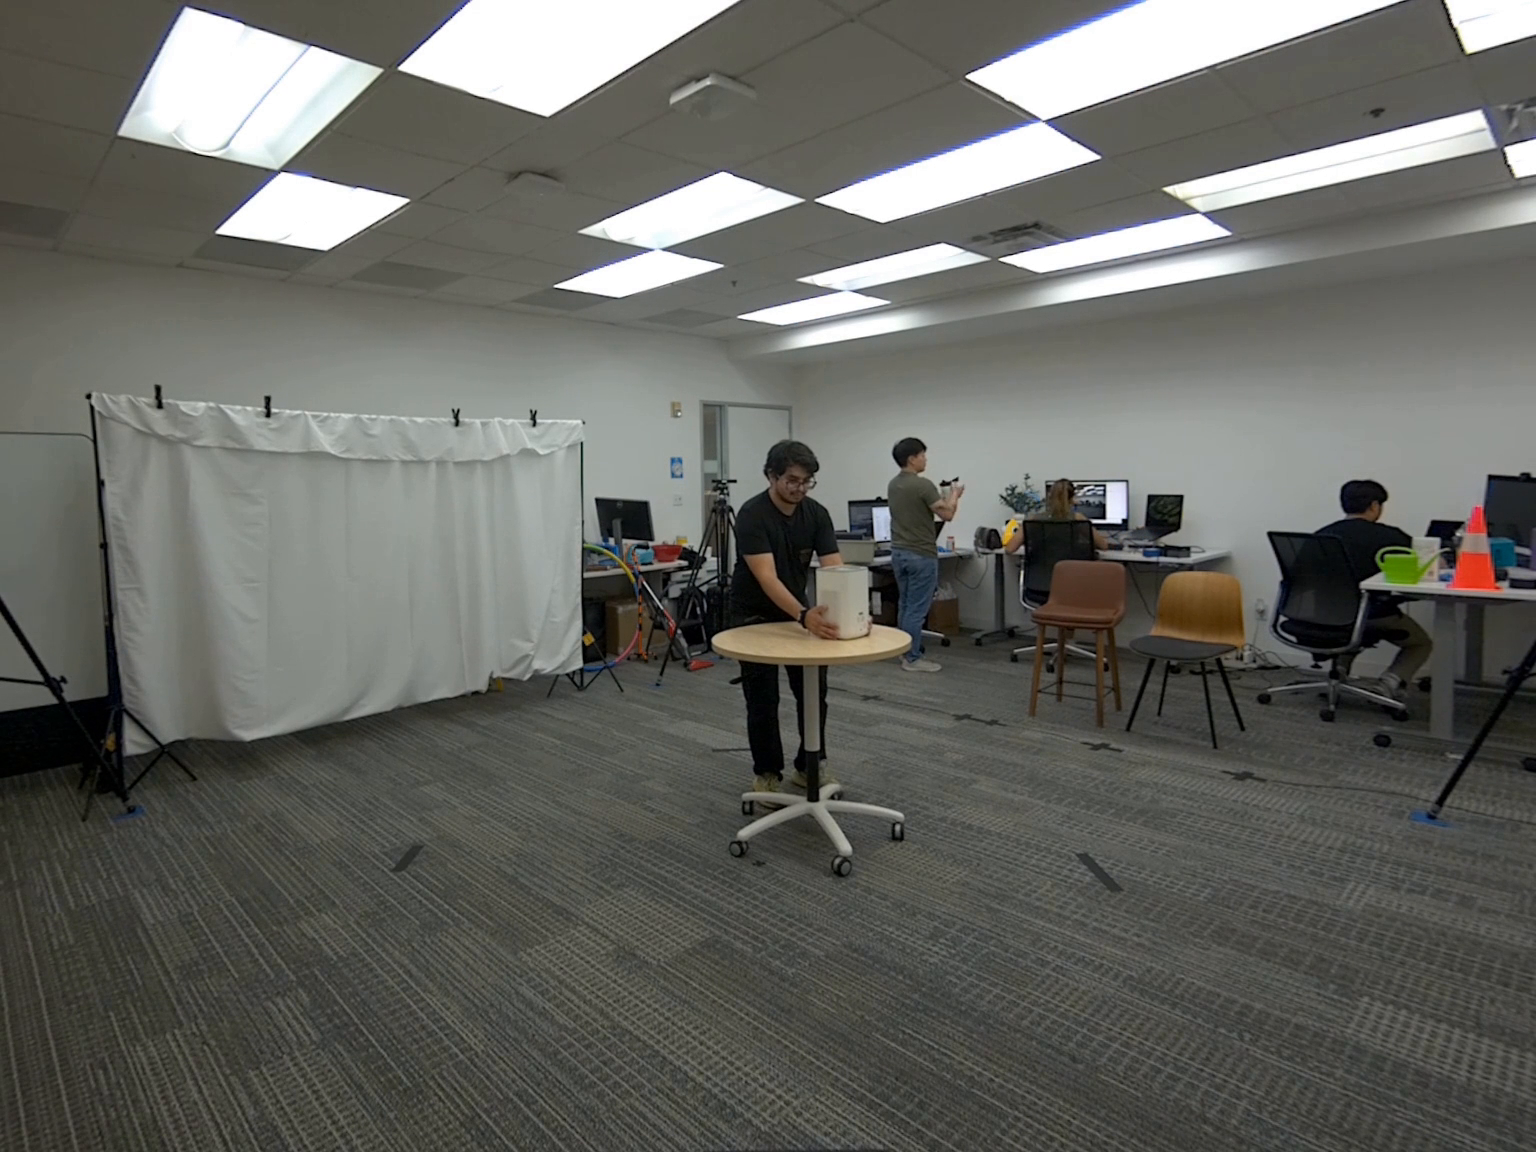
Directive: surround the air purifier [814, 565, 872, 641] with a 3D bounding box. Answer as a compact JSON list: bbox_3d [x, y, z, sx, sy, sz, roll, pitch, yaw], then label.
[{"bbox_3d":[0.286,0.102,3.304,0.177,0.264,0.167,4,7,39],"label":"air purifier"}]
